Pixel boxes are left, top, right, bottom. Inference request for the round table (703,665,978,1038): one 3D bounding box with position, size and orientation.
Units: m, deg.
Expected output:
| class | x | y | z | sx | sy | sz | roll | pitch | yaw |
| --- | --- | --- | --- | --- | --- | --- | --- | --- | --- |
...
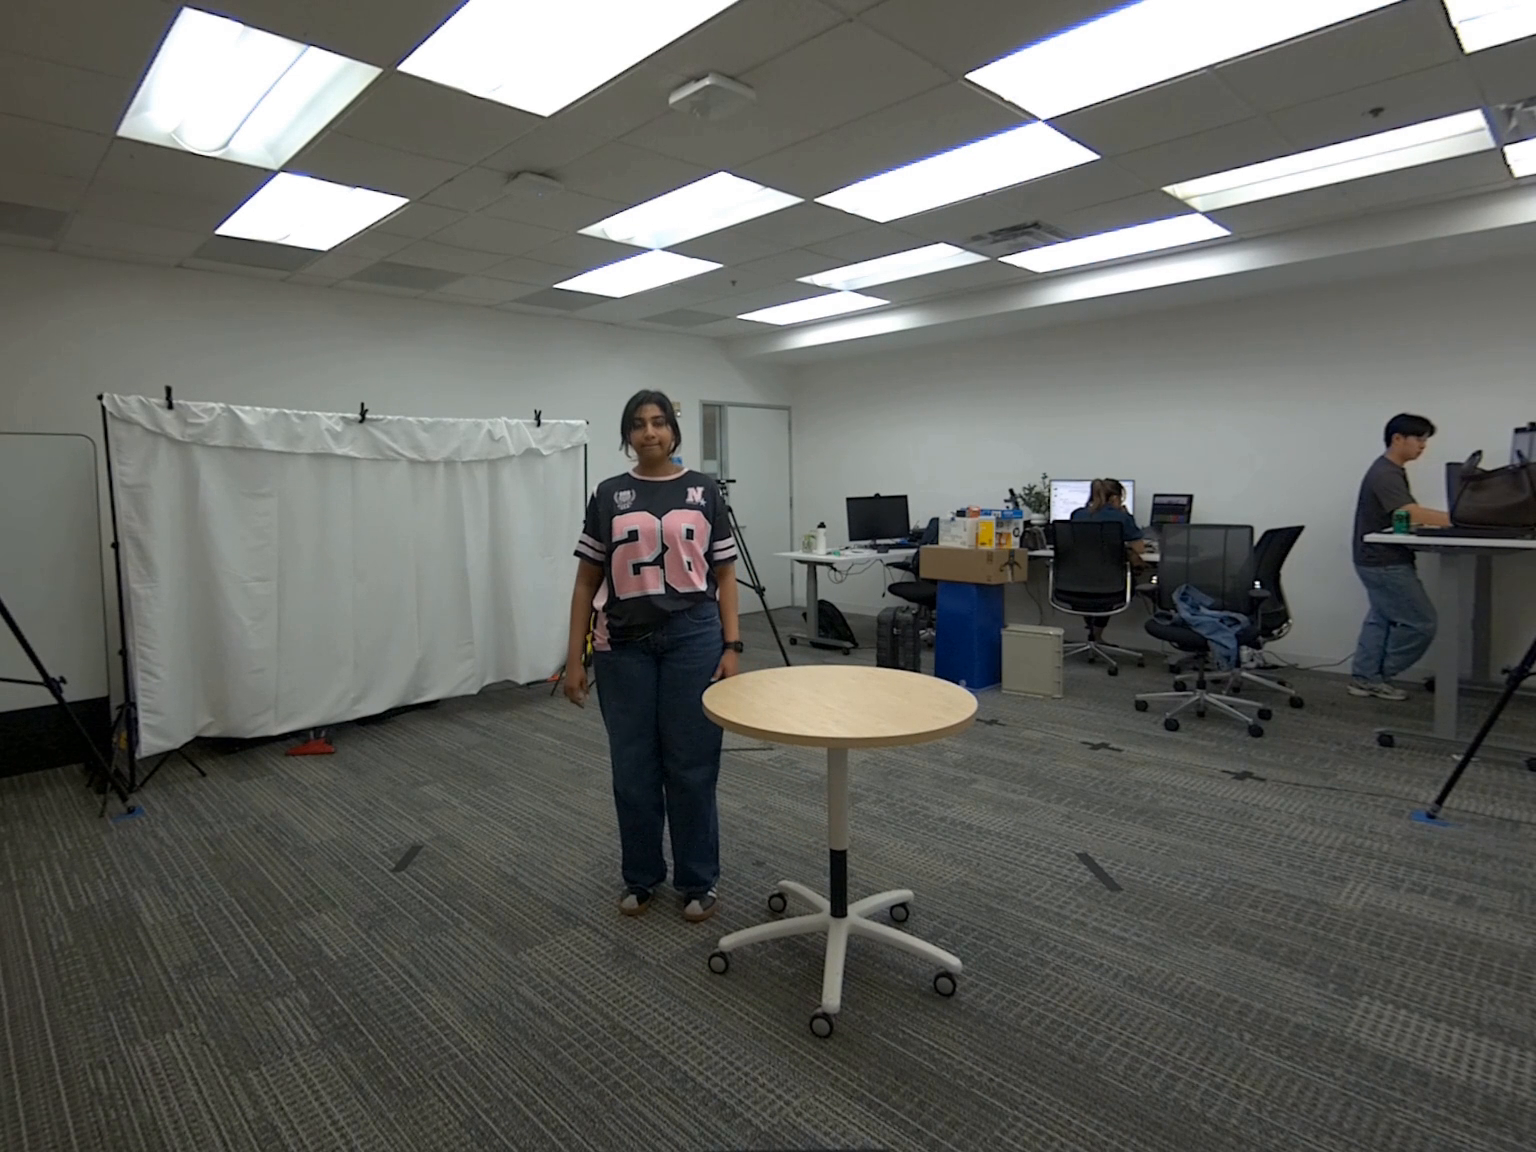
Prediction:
| class | x | y | z | sx | sy | sz | roll | pitch | yaw |
| --- | --- | --- | --- | --- | --- | --- | --- | --- | --- |
| round table | 0.191 | 0.728 | 2.446 | 0.784 | 0.783 | 0.789 | 0 | 5 | -2 |
